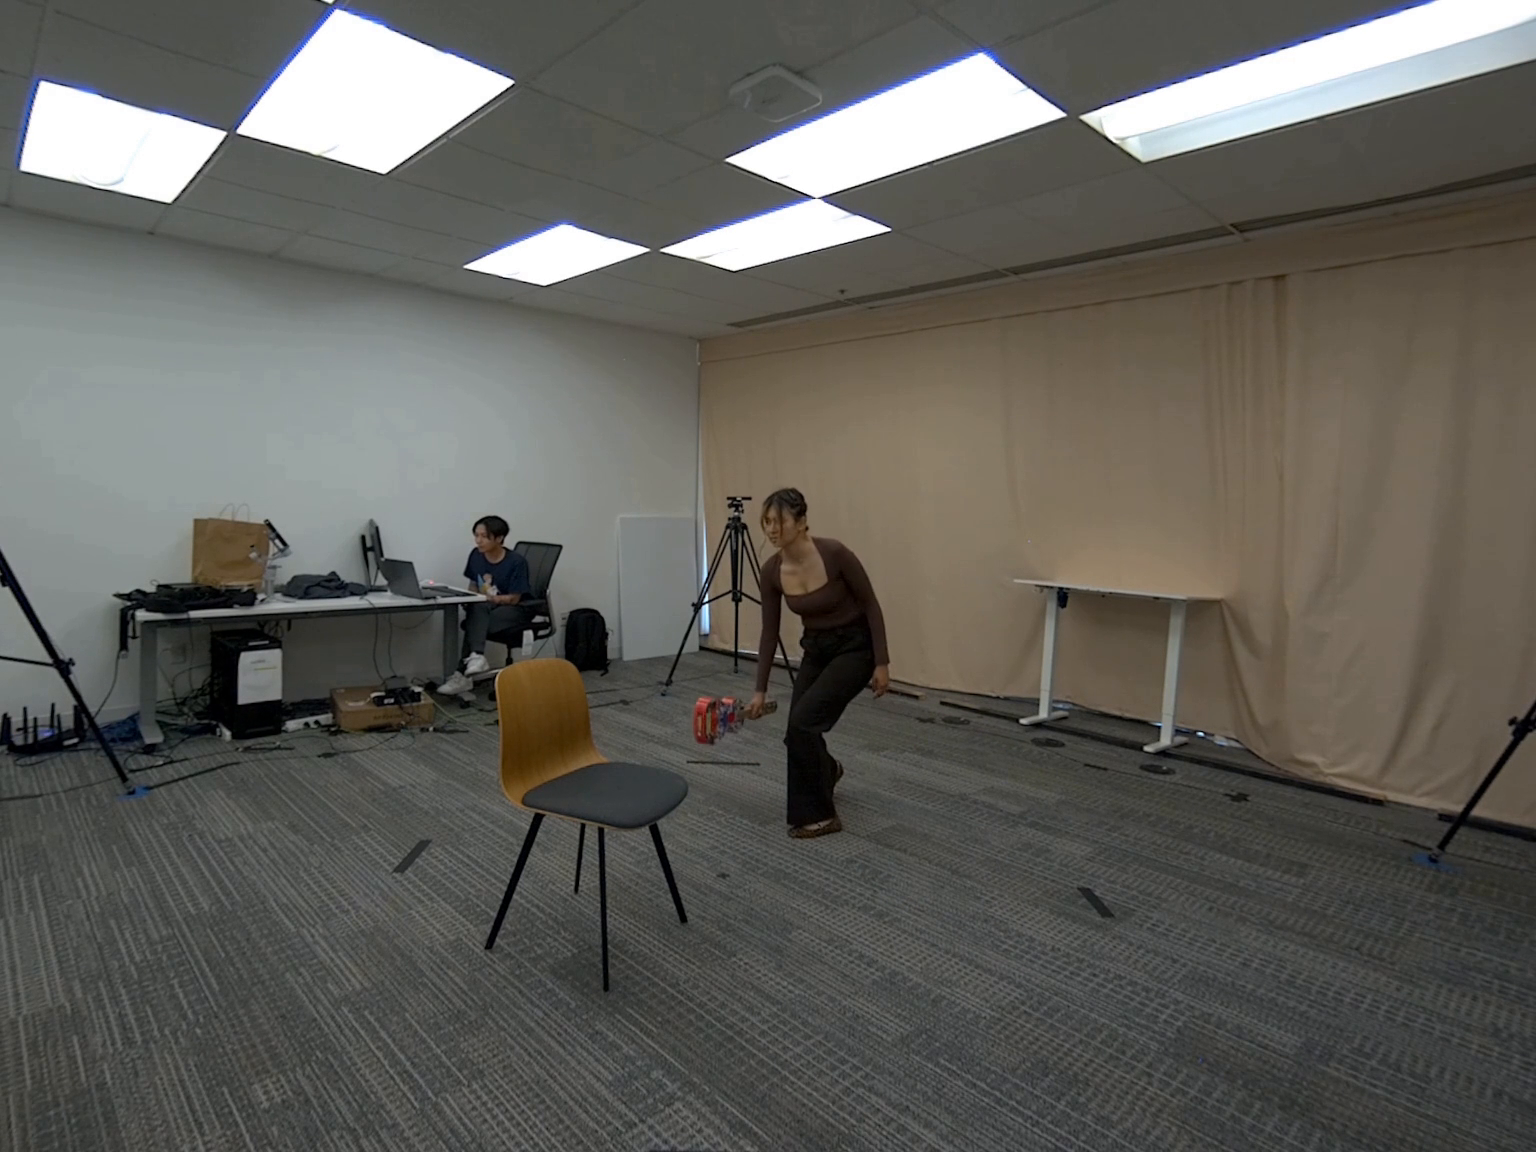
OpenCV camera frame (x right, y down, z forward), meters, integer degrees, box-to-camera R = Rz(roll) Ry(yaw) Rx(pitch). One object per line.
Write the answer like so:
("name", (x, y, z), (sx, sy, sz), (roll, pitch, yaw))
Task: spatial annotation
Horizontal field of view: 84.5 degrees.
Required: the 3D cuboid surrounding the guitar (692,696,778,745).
("guitar", (-0.139, 0.617, 3.606), (0.072, 0.194, 0.484), (0, -8, 37))
